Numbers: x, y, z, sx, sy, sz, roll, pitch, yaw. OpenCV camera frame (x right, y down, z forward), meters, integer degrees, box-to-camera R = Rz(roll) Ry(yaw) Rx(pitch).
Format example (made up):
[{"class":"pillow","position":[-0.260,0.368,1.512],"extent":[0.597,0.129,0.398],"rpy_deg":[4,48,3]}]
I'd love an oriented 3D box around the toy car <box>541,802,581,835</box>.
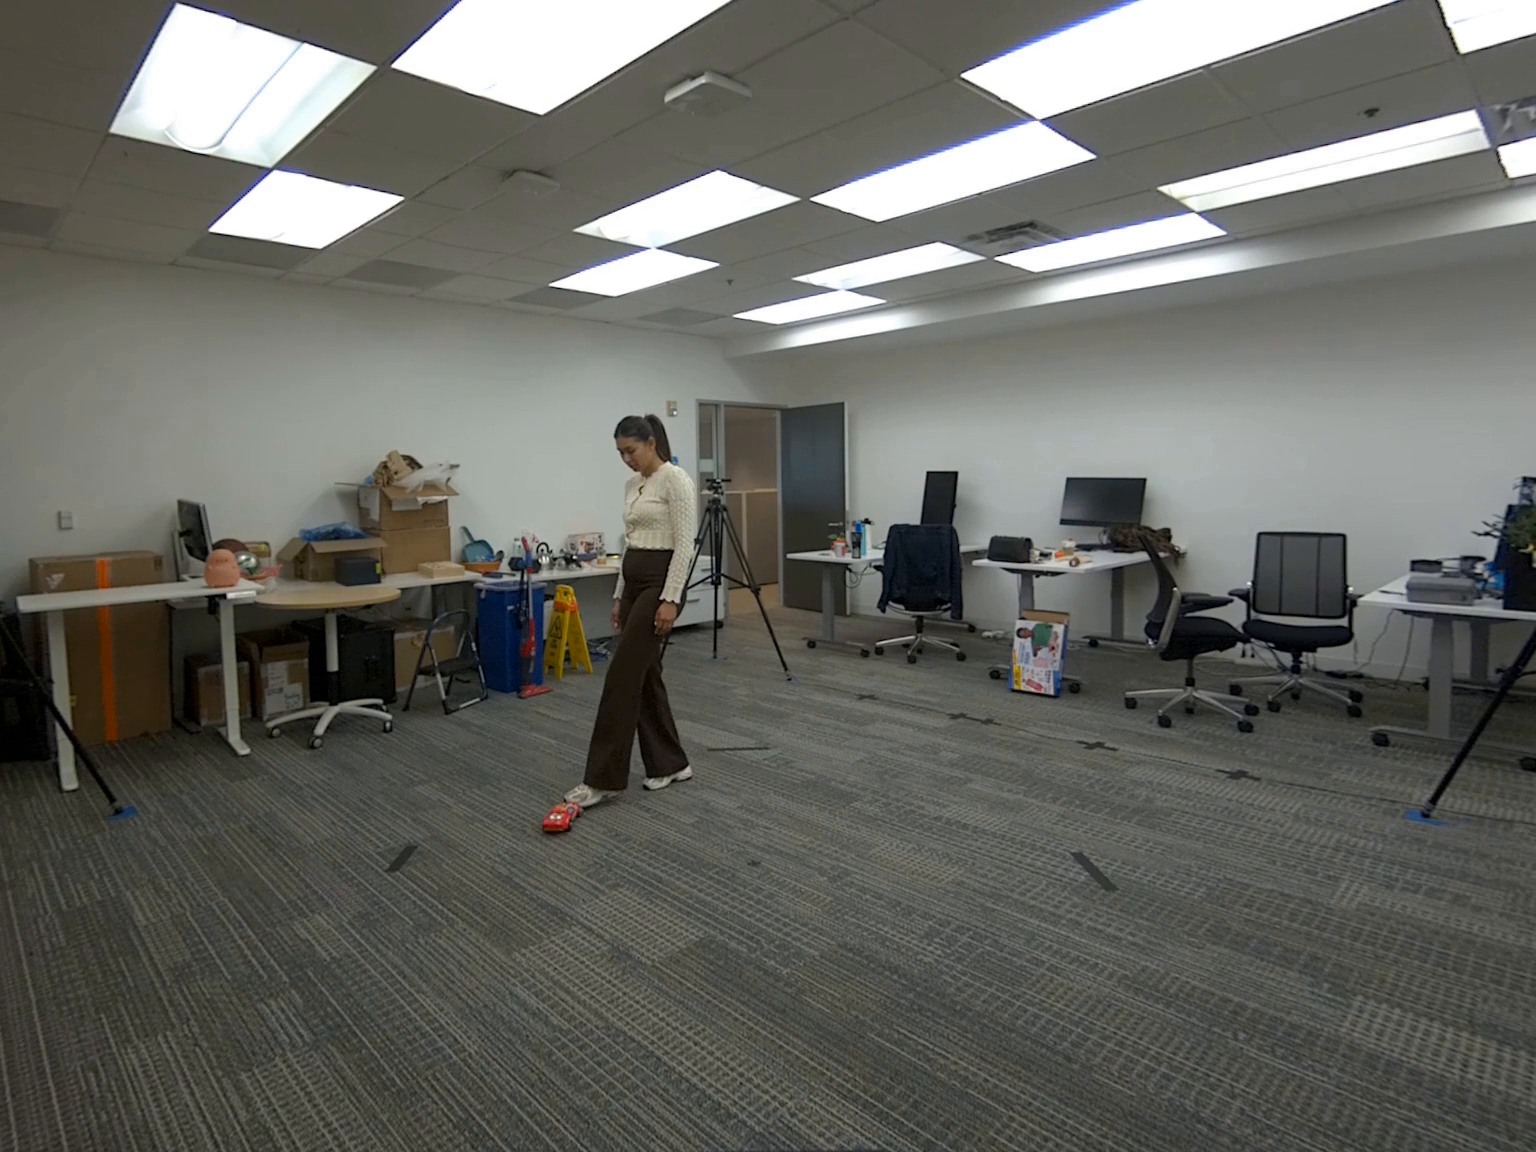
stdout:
[{"class":"toy car","position":[-0.848,0.988,3.483],"extent":[0.131,0.084,0.251],"rpy_deg":[0,-5,6]}]
